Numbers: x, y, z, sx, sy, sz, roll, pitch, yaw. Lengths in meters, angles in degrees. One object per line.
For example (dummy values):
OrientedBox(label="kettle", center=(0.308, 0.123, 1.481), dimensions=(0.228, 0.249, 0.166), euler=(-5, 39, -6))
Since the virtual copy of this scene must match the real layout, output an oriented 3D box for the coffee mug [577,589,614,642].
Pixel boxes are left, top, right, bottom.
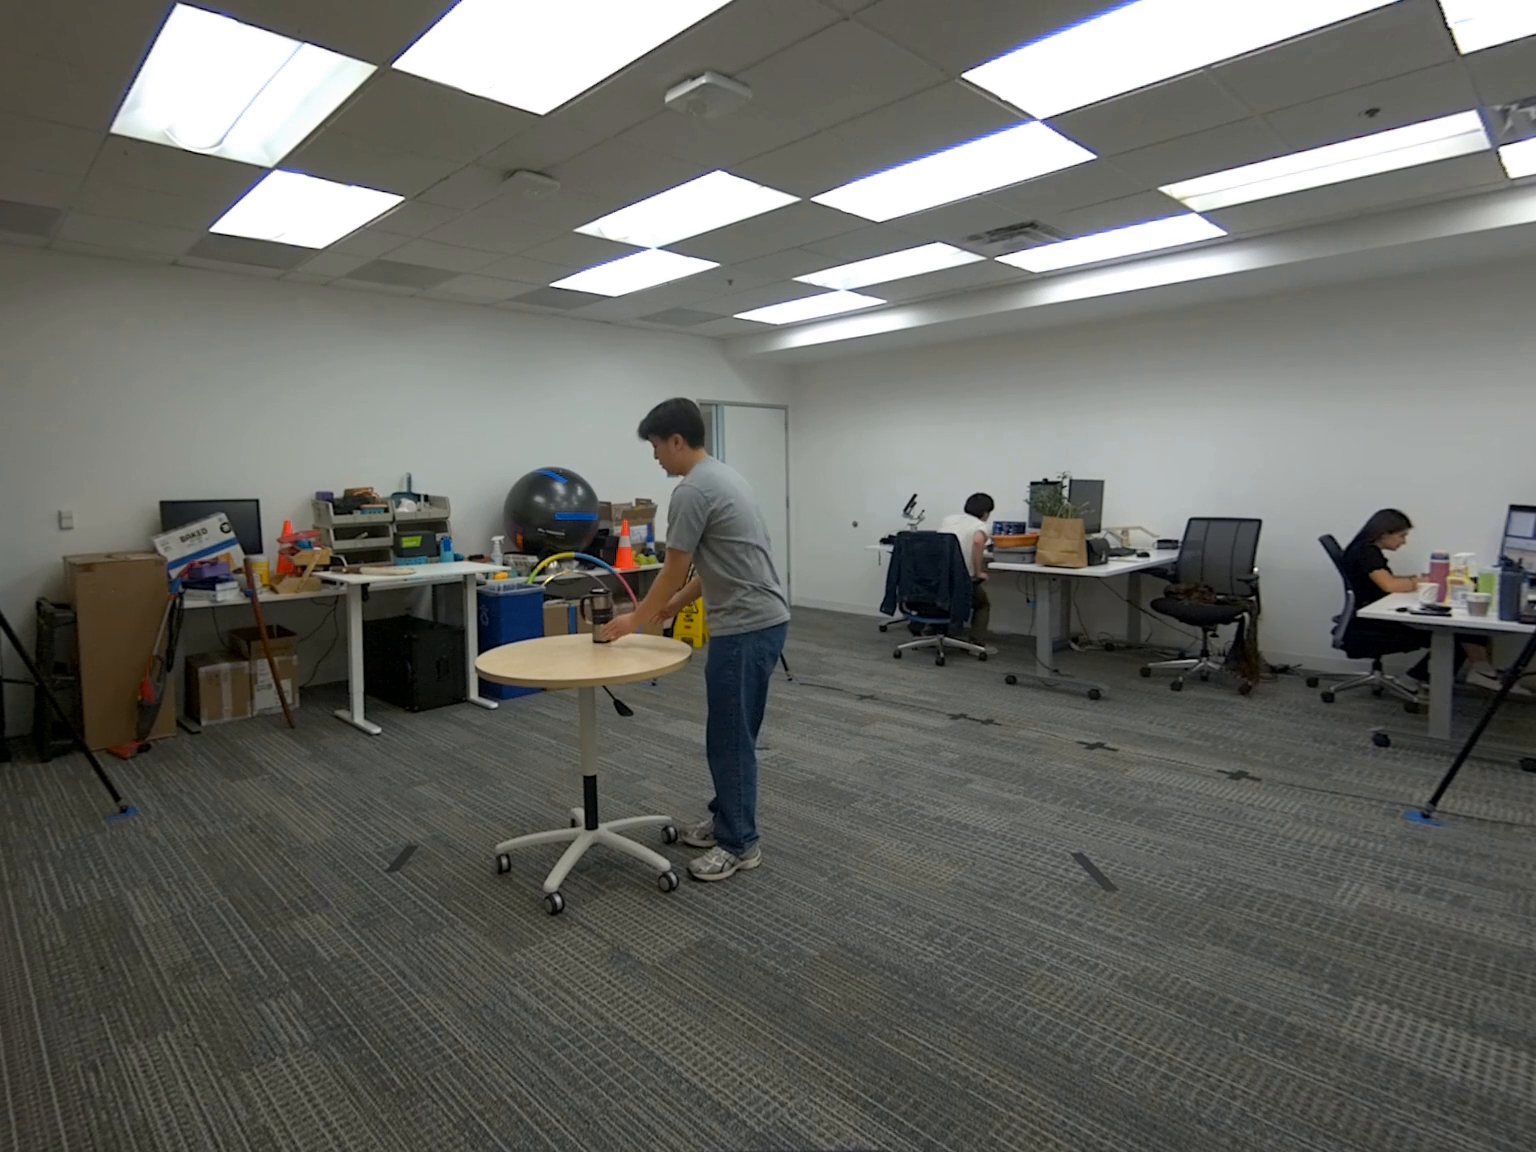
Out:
OrientedBox(label="coffee mug", center=(-0.653, 0.152, 3.263), dimensions=(0.122, 0.202, 0.088), euler=(0, 5, -2))
